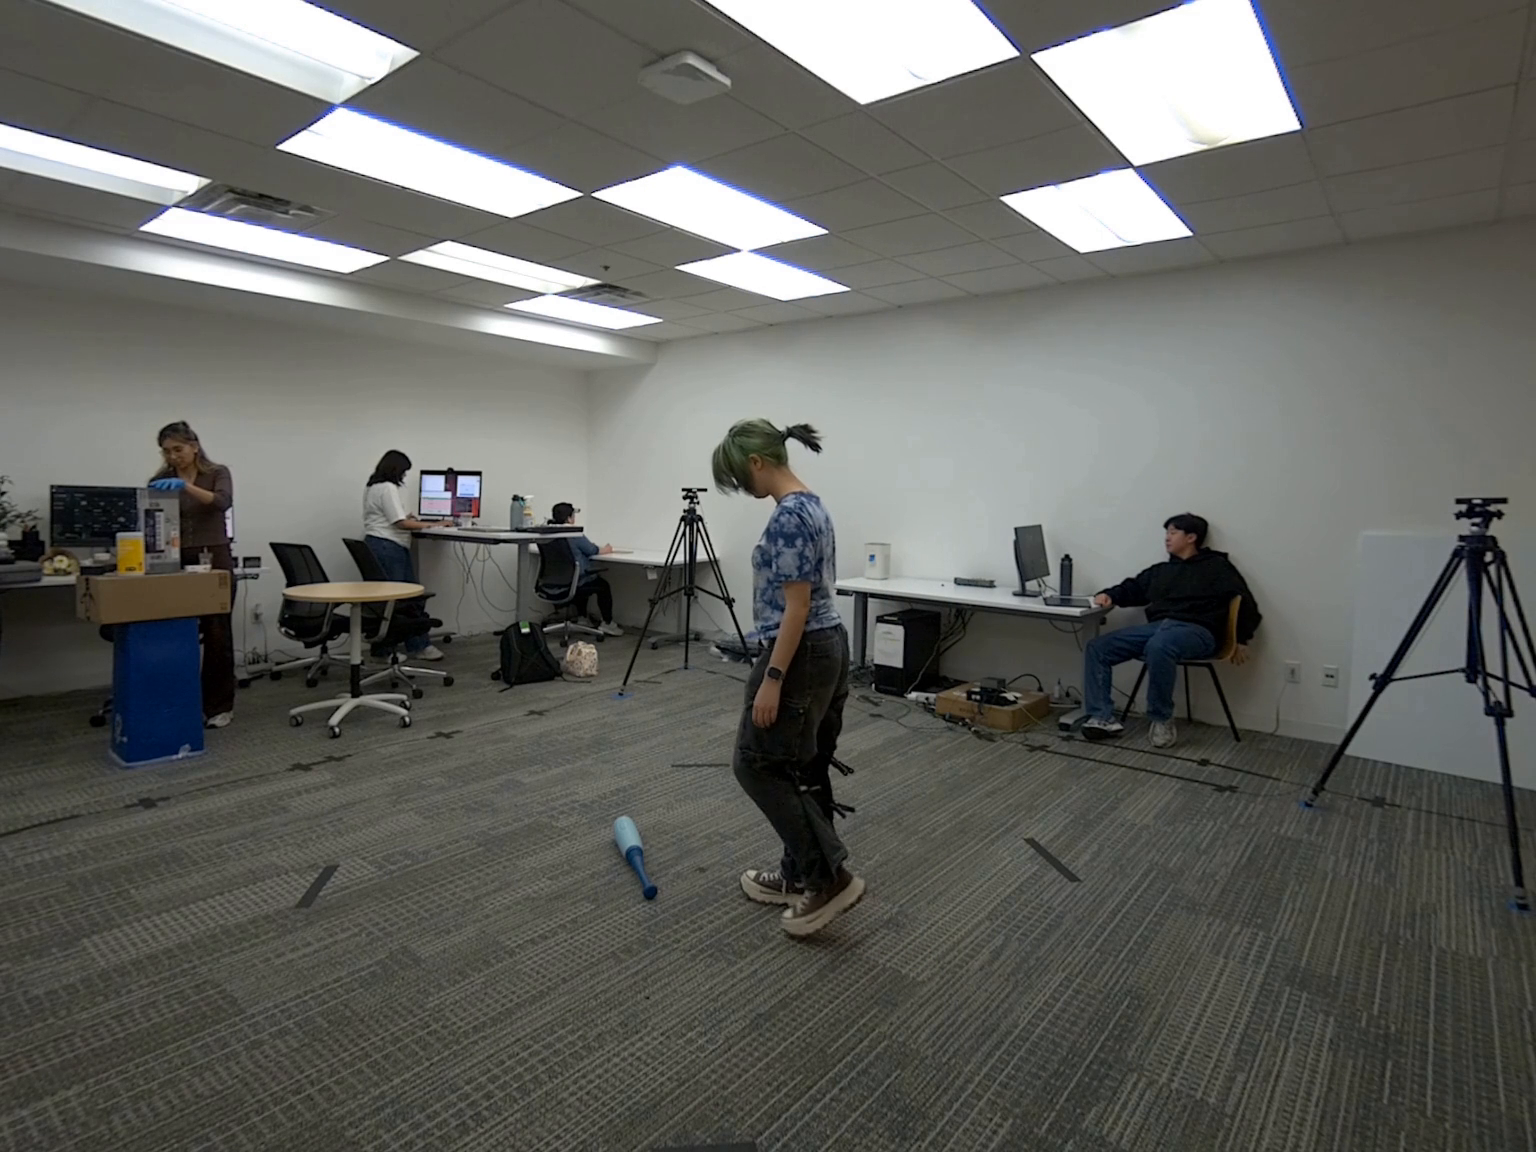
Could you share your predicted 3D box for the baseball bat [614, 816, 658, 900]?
[{"bbox_3d":[-0.500,1.030,3.117,0.087,0.088,0.556,-1,9,-18],"label":"baseball bat"}]
